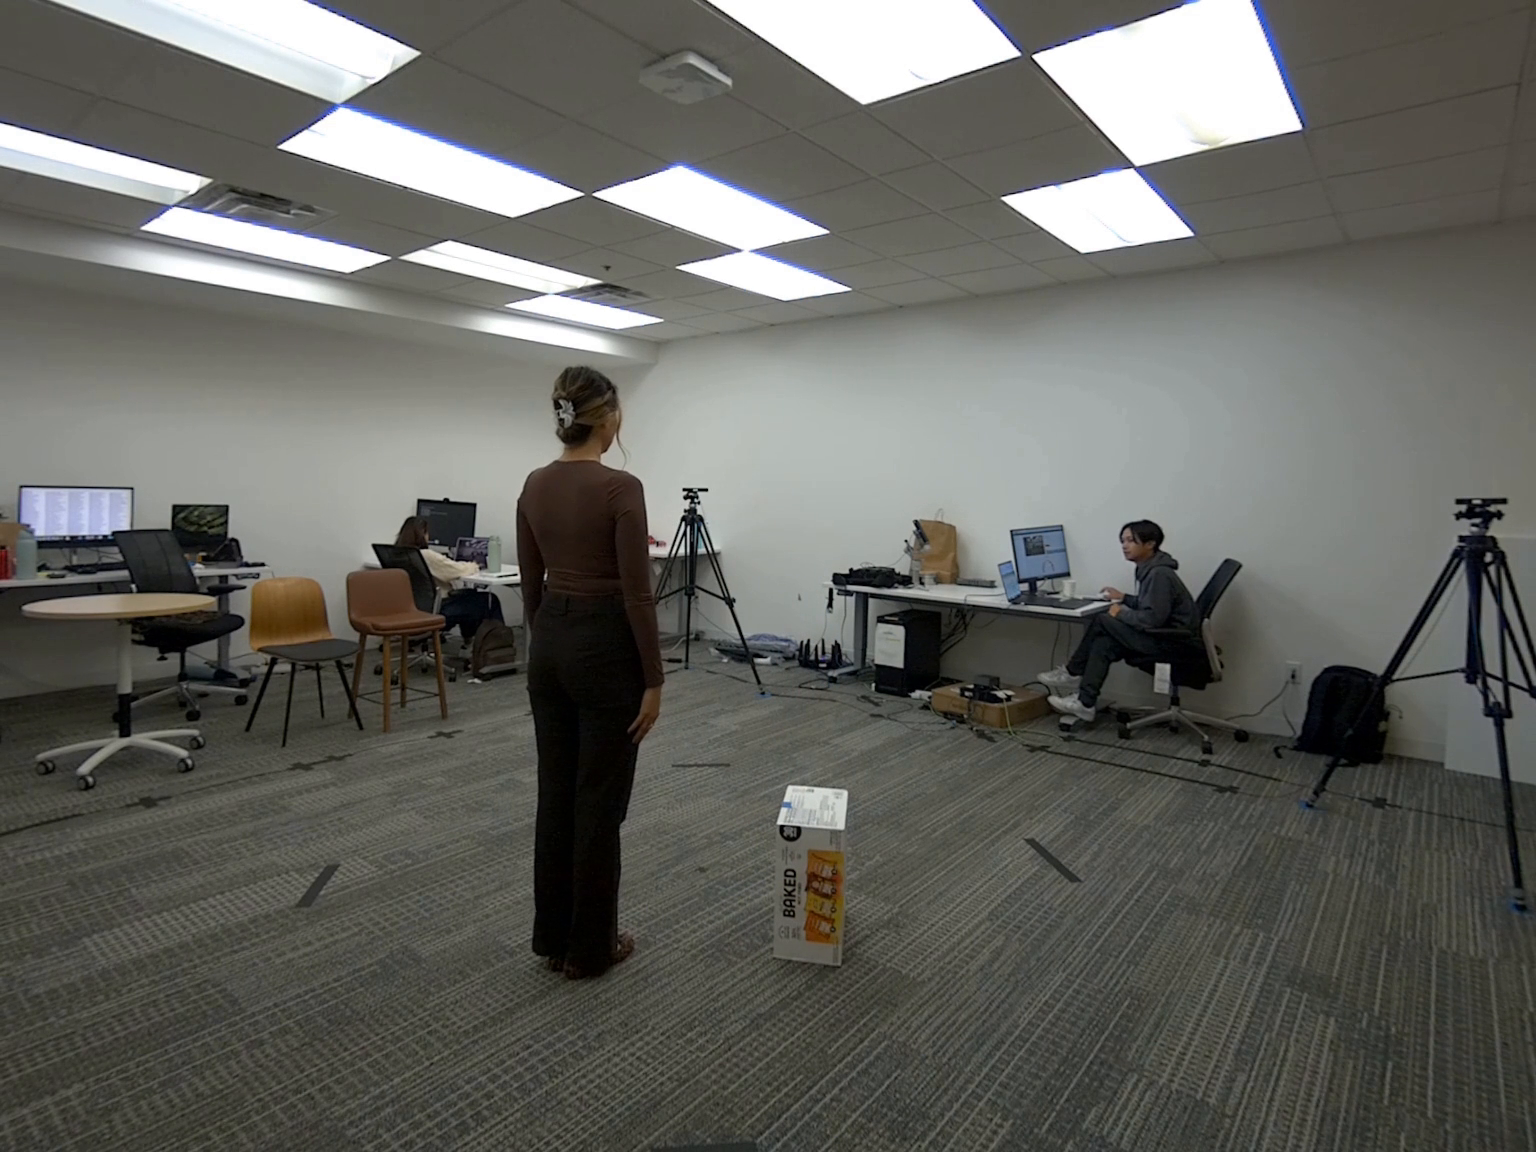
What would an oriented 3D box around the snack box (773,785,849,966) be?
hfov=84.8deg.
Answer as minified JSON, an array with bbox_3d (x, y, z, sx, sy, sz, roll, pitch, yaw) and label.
[{"bbox_3d":[0.135,0.920,2.658,0.208,0.404,0.338,2,4,8],"label":"snack box"}]
